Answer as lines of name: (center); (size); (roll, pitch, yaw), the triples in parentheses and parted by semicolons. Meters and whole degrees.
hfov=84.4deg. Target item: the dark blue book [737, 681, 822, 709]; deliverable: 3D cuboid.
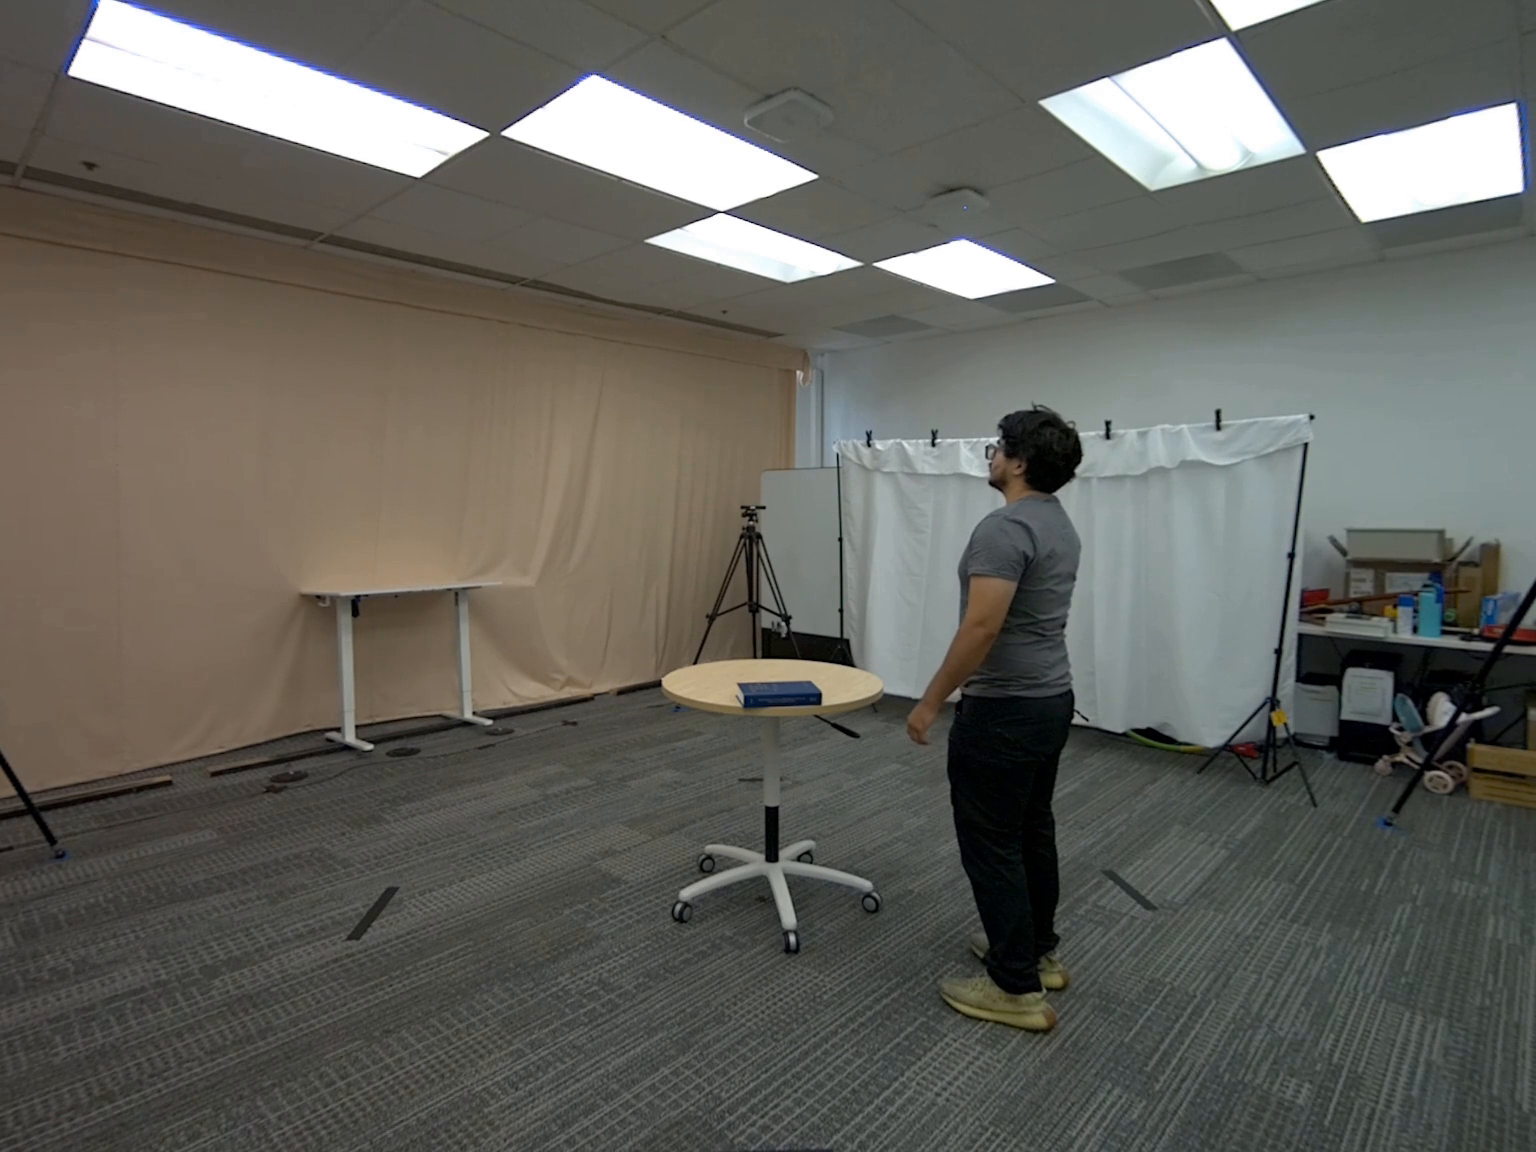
dark blue book: (0.031, 0.375, 2.626); (0.243, 0.045, 0.165); (-1, 5, -8)
